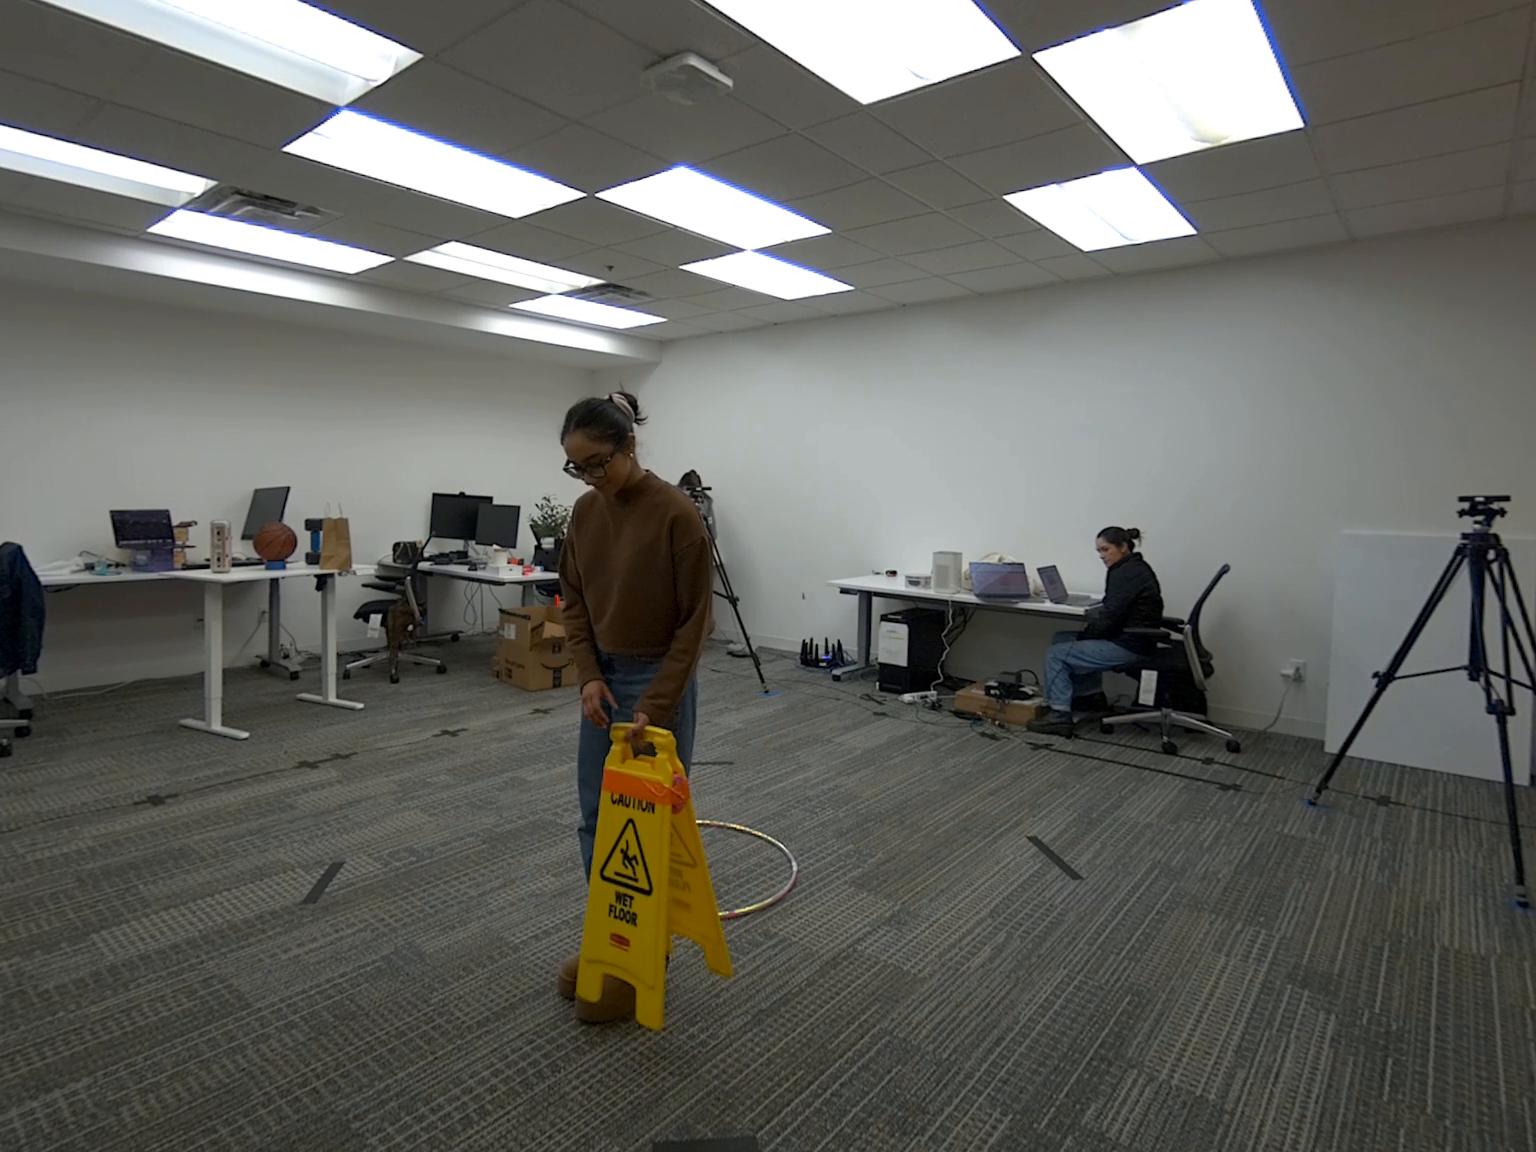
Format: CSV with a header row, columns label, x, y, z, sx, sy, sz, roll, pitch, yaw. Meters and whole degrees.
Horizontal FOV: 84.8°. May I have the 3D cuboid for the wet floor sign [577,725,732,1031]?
label,x,y,z,sx,sy,sz,roll,pitch,yaw
wet floor sign,-0.303,0.690,2.100,0.290,0.645,0.281,-3,1,38
